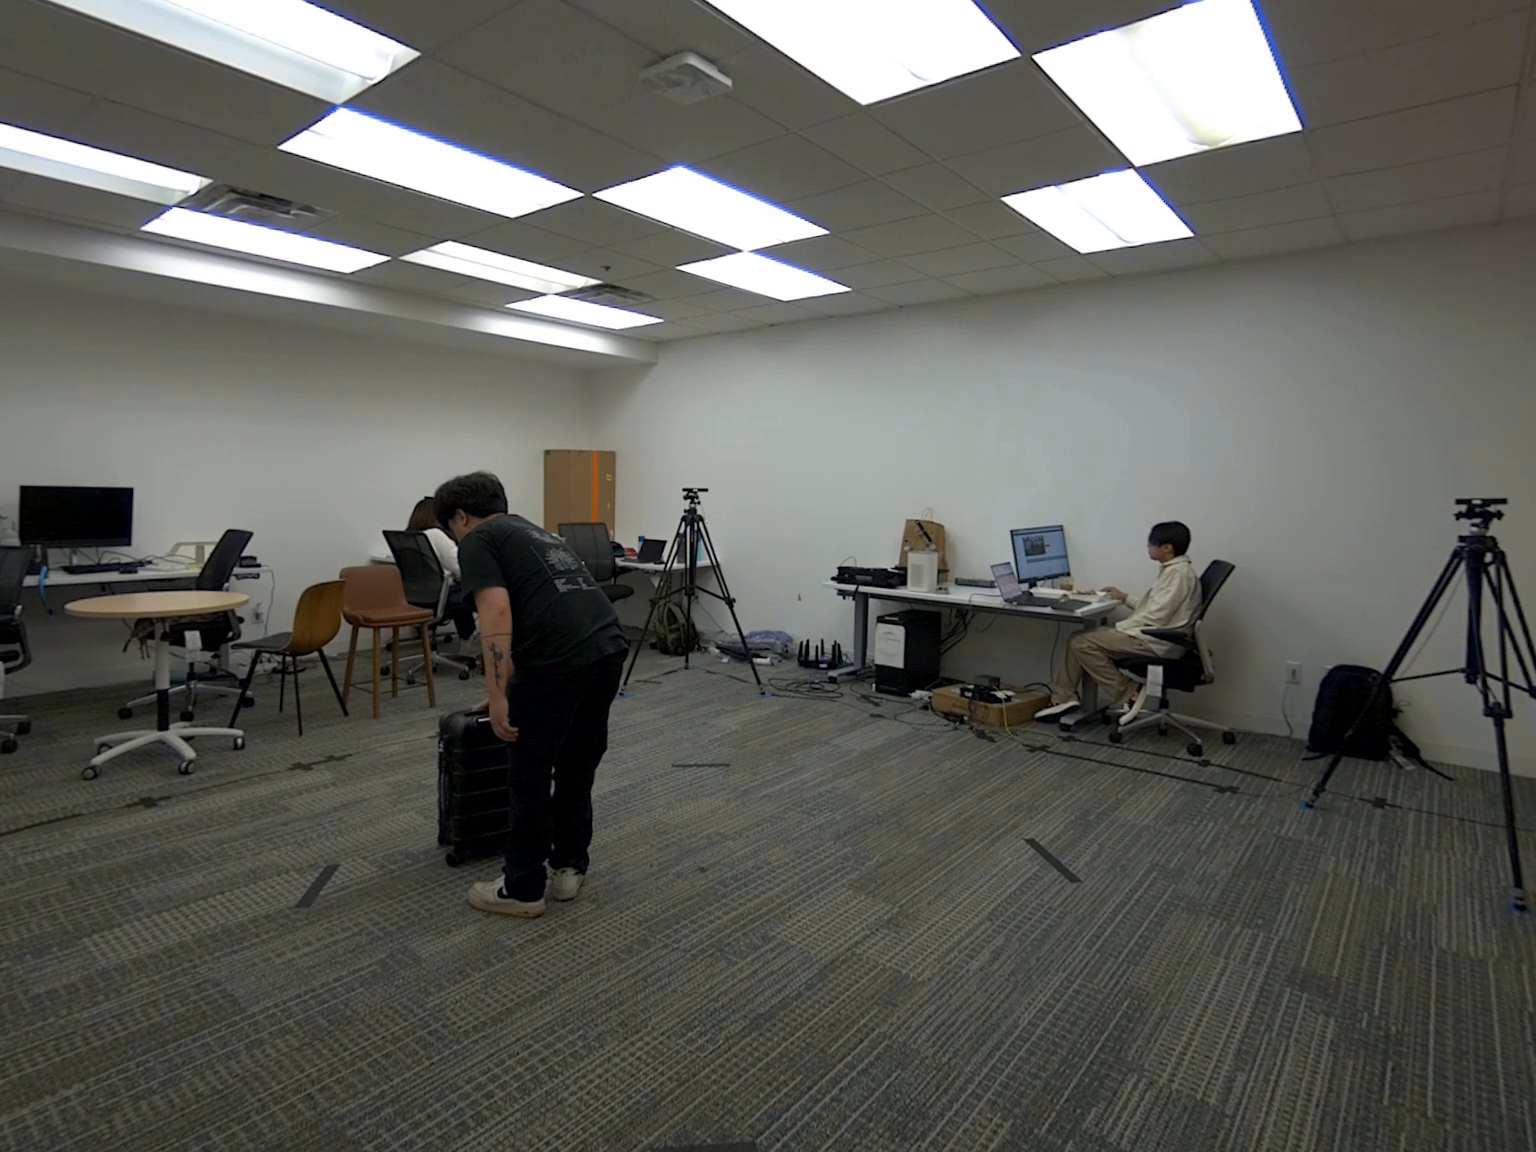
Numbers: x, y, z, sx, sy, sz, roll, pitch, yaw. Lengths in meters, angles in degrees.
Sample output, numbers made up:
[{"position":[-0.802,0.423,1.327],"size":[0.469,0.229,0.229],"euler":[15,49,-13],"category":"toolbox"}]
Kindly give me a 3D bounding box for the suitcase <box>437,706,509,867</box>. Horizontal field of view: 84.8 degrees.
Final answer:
[{"position":[-1.089,0.765,3.255],"size":[0.365,0.547,0.256],"euler":[-2,6,-33],"category":"suitcase"}]
